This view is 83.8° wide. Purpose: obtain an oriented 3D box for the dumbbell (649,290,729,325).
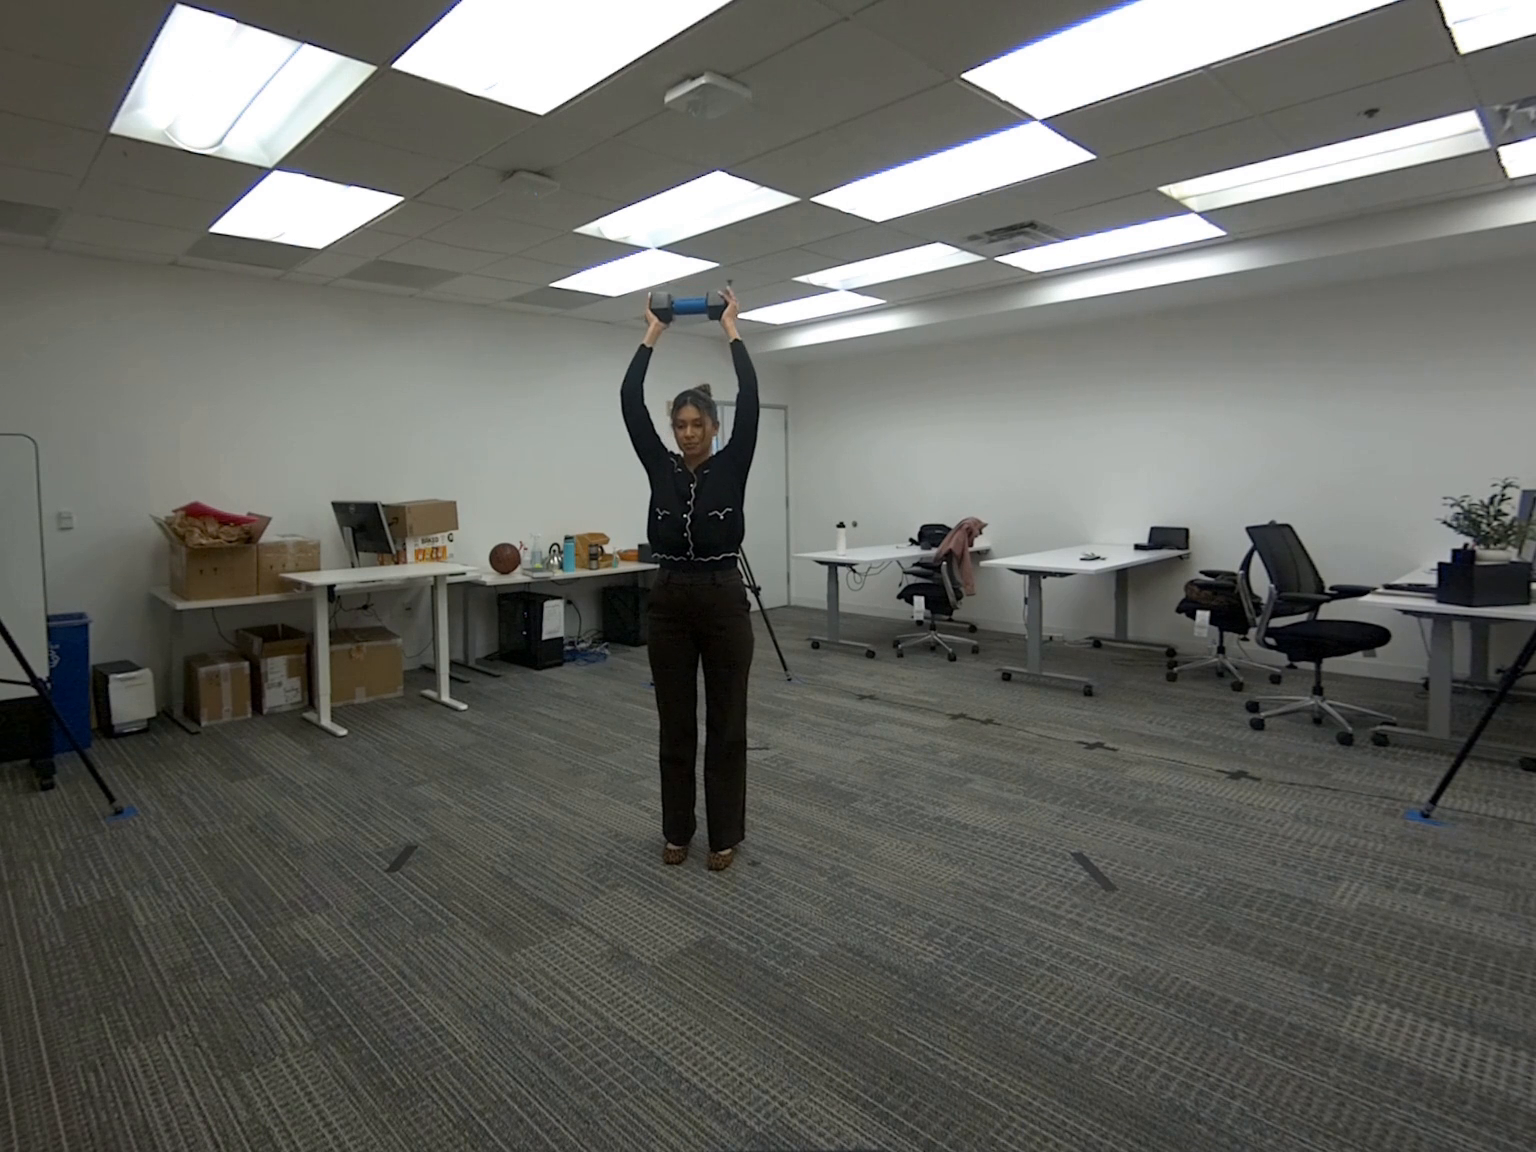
[{"bbox_3d":[-0.291,-0.983,3.127,0.296,0.107,0.124,0,17,8],"label":"dumbbell"}]
